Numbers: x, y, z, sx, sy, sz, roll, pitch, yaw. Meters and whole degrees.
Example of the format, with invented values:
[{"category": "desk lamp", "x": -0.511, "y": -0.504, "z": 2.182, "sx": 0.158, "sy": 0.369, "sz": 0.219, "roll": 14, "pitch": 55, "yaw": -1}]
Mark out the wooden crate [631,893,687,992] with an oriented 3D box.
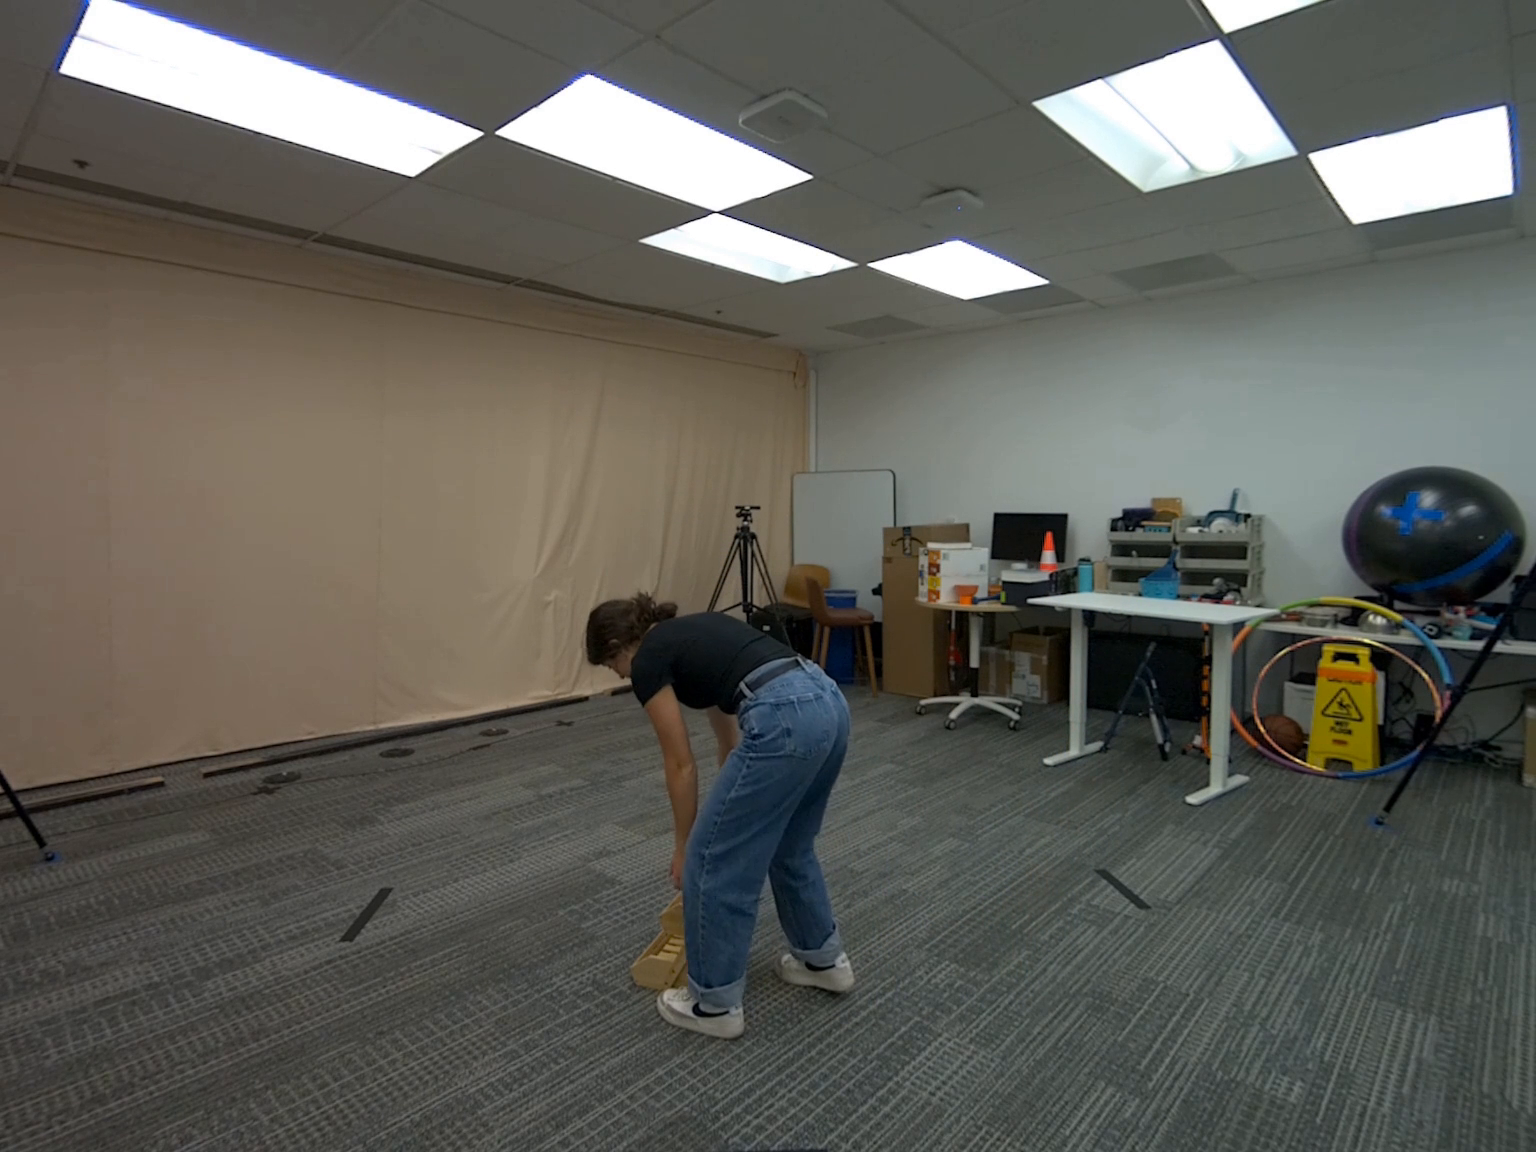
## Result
[{"category": "wooden crate", "x": -0.216, "y": 1.053, "z": 2.534, "sx": 0.308, "sy": 0.272, "sz": 0.319, "roll": 2, "pitch": 5, "yaw": 18}]
